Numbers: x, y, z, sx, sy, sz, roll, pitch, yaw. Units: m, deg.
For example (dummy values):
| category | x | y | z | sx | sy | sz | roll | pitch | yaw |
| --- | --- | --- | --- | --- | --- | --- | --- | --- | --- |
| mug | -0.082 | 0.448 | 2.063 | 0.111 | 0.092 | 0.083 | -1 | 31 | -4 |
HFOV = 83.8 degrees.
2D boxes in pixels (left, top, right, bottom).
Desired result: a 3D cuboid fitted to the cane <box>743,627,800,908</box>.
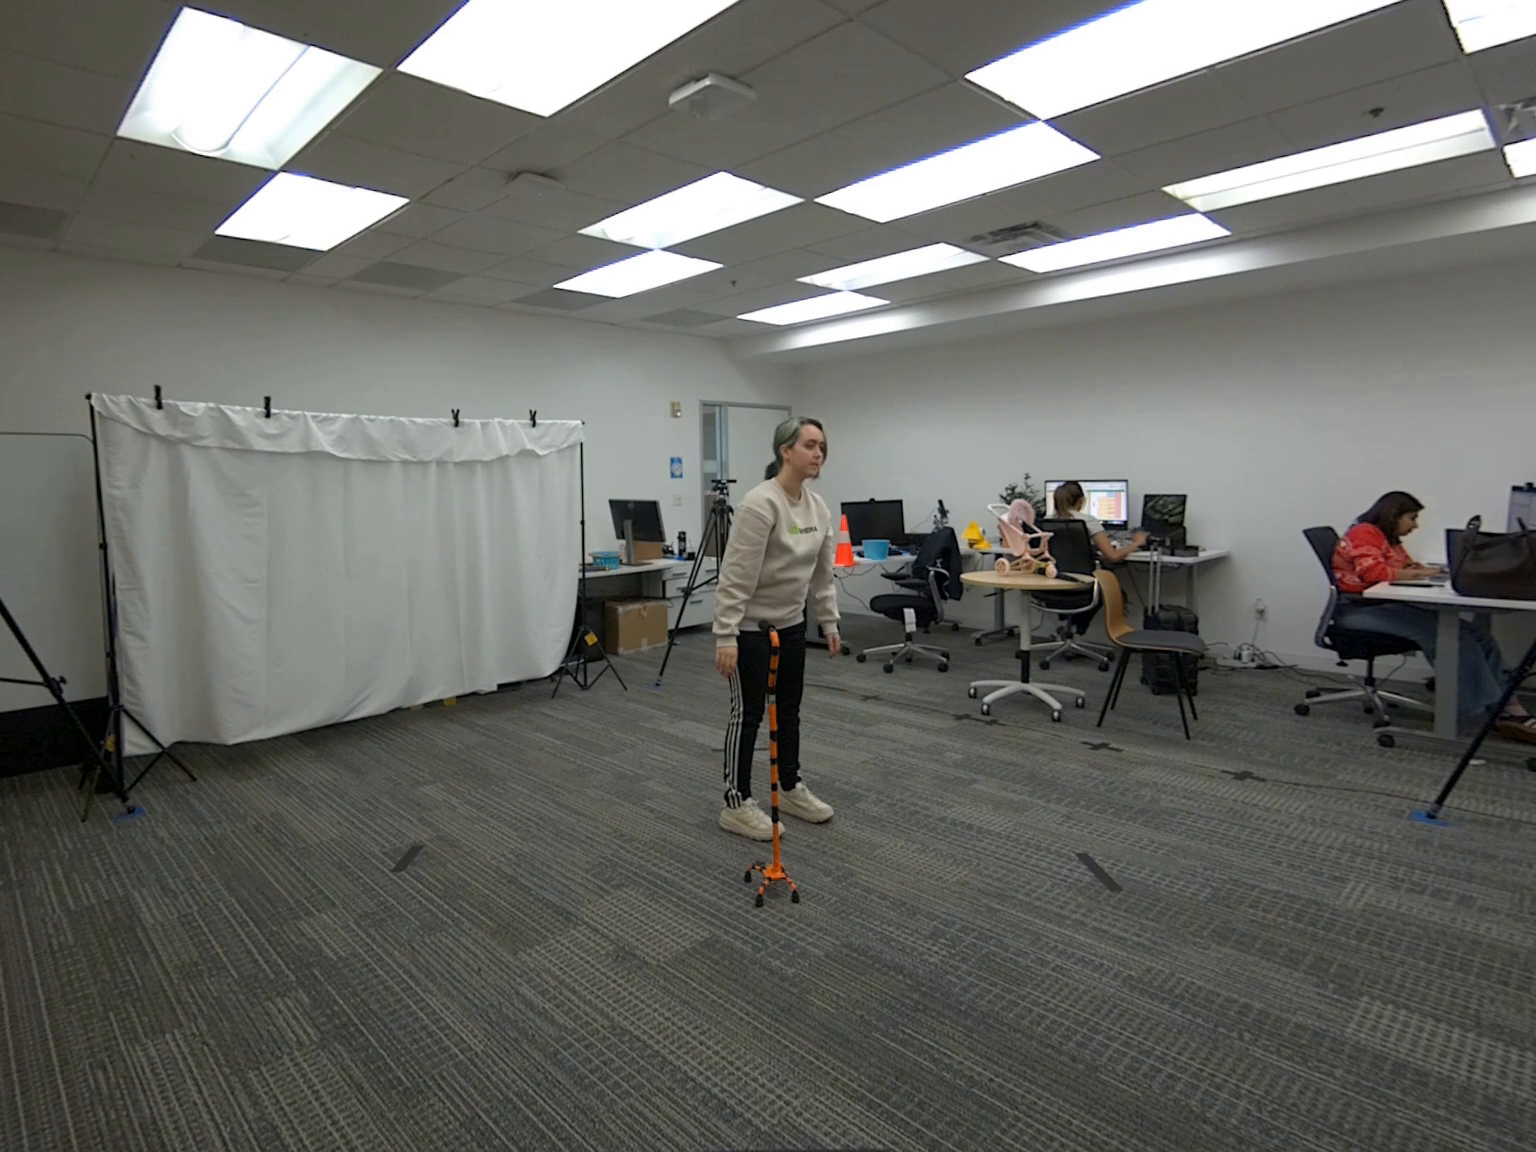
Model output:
| category | x | y | z | sx | sy | sz | roll | pitch | yaw |
| --- | --- | --- | --- | --- | --- | --- | --- | --- | --- |
| cane | 0.005 | 0.624 | 2.872 | 0.150 | 0.904 | 0.209 | -2 | 5 | -11 |
